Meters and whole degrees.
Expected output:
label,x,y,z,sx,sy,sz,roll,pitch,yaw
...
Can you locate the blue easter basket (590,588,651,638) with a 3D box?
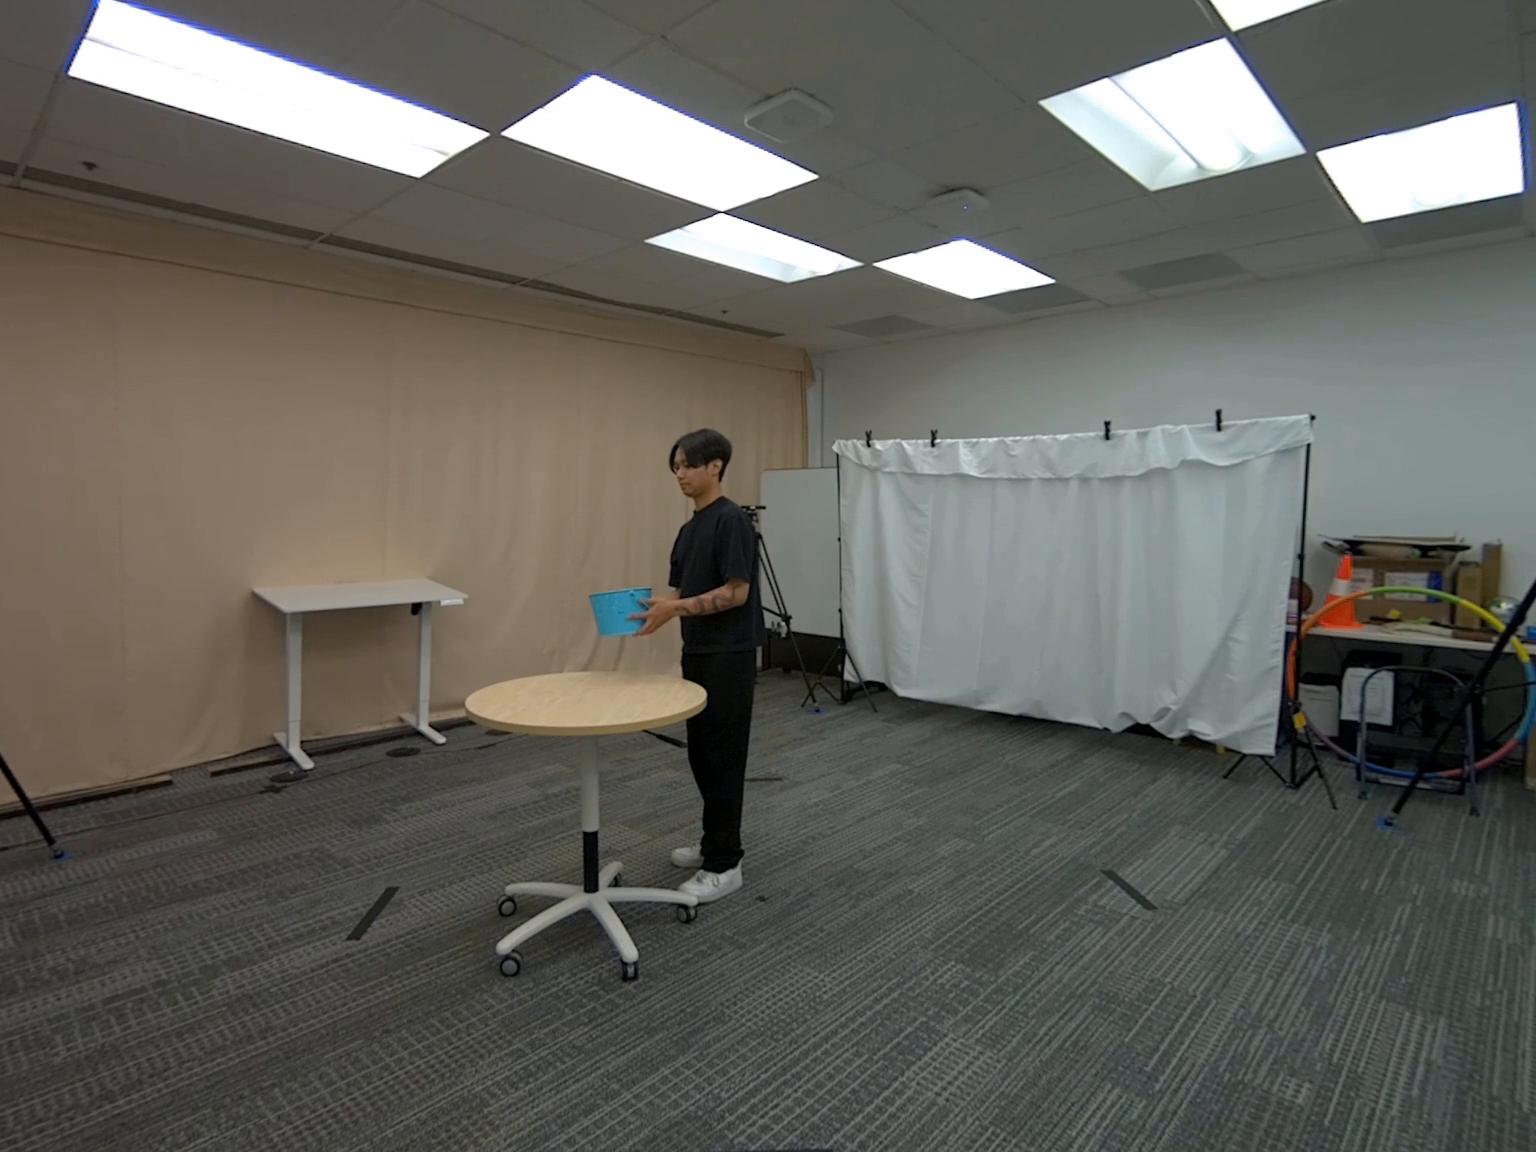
label,x,y,z,sx,sy,sz,roll,pitch,yaw
blue easter basket,-0.512,0.132,3.030,0.243,0.156,0.243,-6,-3,-2
